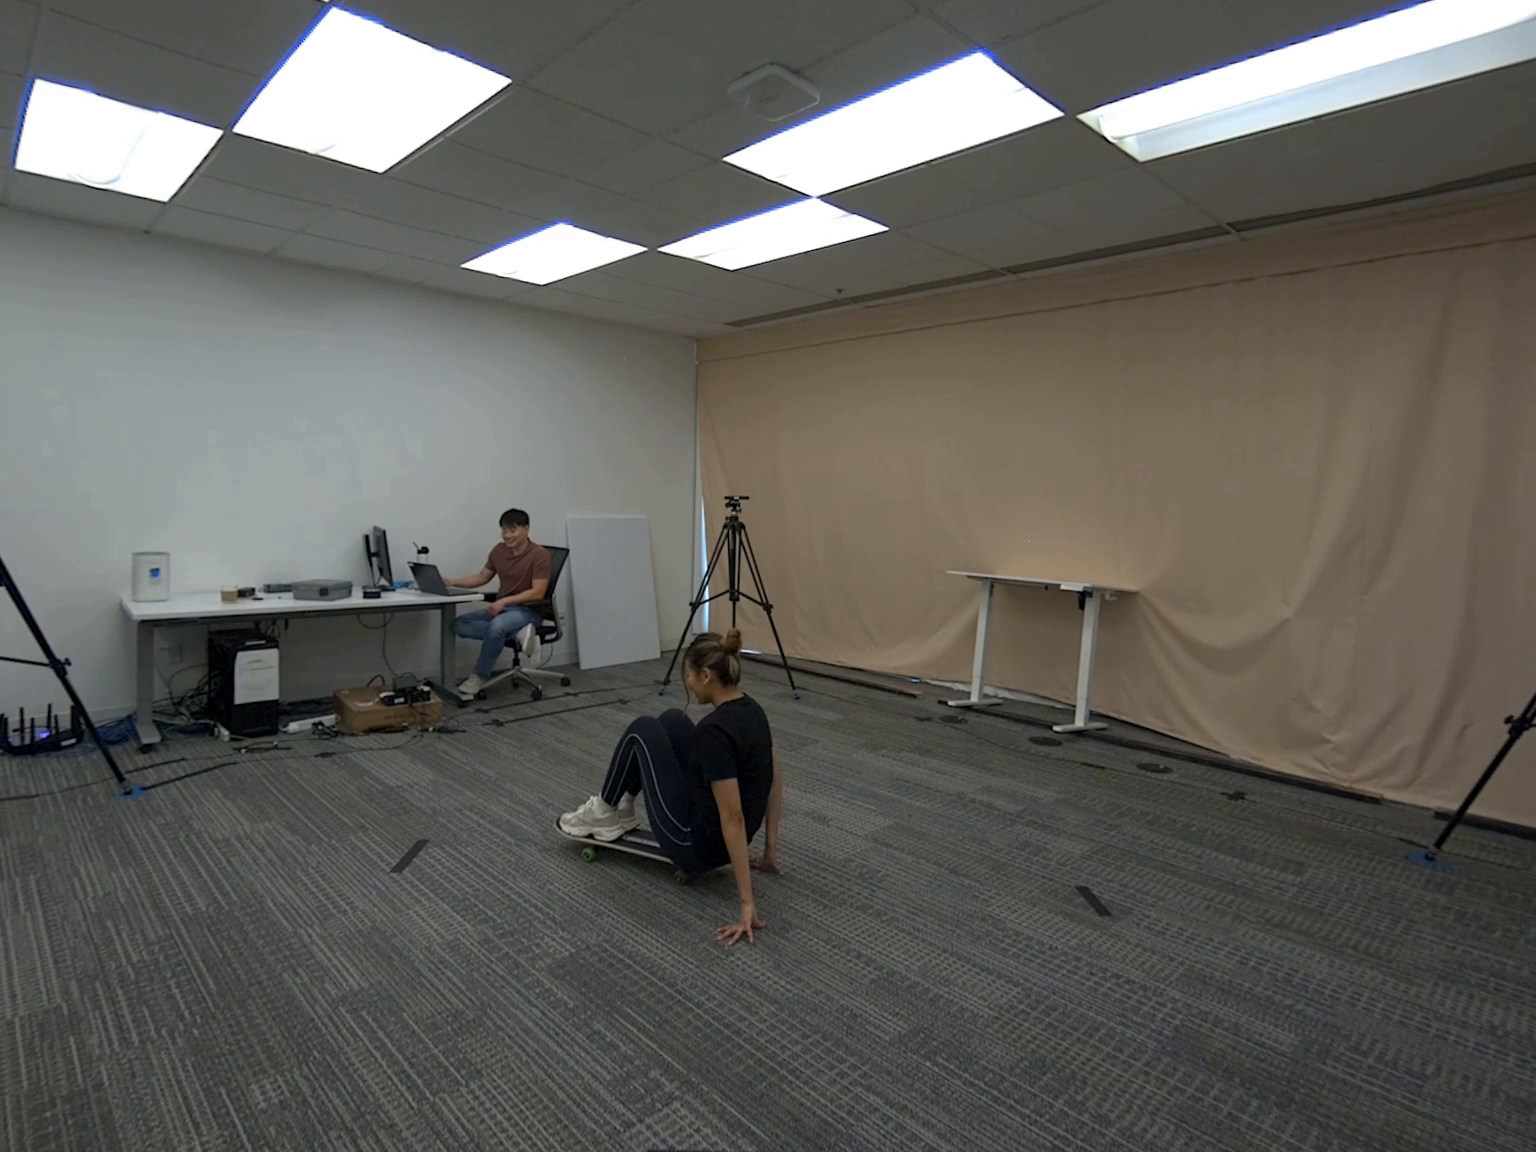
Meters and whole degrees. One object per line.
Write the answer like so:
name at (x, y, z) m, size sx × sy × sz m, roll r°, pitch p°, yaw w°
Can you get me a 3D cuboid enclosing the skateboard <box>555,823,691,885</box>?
skateboard at (-0.460, 1.040, 3.182) m, size 0.800 × 0.110 × 0.190 m, roll 4°, pitch 2°, yaw 24°
